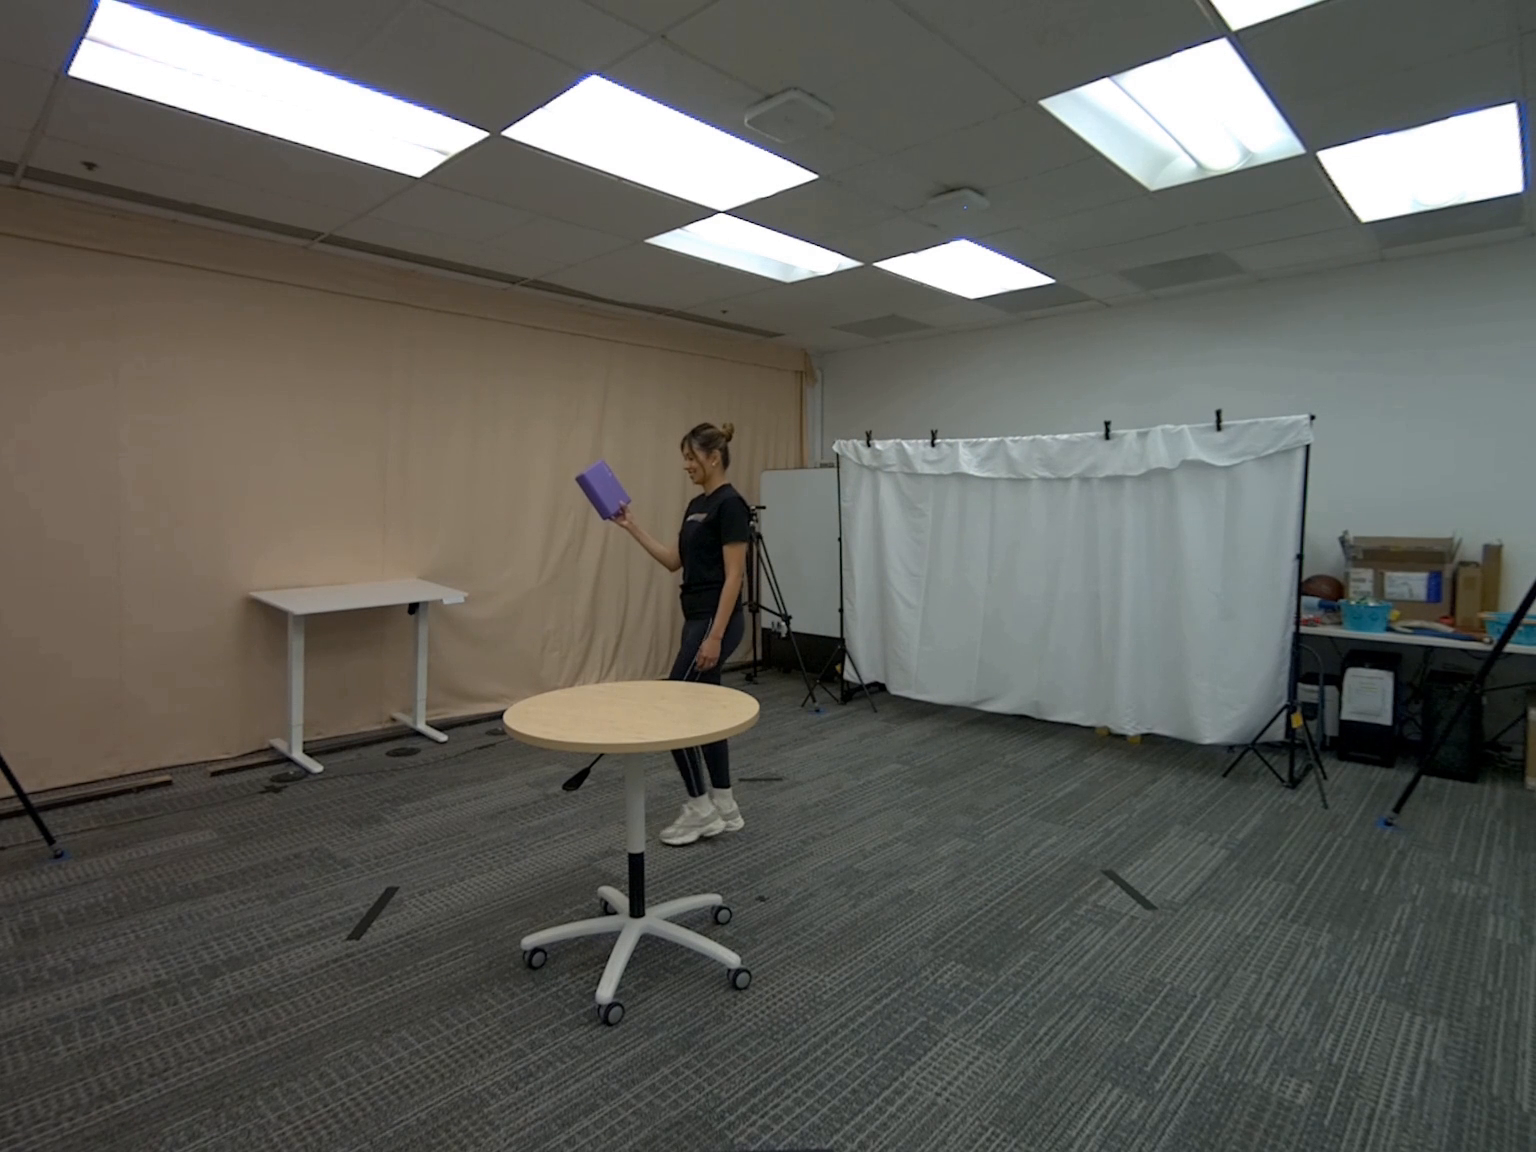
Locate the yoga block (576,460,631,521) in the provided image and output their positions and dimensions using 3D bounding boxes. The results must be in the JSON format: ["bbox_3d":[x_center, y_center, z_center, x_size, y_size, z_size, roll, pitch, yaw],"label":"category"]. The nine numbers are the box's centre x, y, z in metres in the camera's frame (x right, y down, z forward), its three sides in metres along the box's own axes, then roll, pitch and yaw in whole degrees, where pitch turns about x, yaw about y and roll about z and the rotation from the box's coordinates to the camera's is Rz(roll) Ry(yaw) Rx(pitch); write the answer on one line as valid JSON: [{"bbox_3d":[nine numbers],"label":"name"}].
[{"bbox_3d":[-0.727,-0.379,3.711,0.078,0.226,0.147,-21,16,46],"label":"yoga block"}]
